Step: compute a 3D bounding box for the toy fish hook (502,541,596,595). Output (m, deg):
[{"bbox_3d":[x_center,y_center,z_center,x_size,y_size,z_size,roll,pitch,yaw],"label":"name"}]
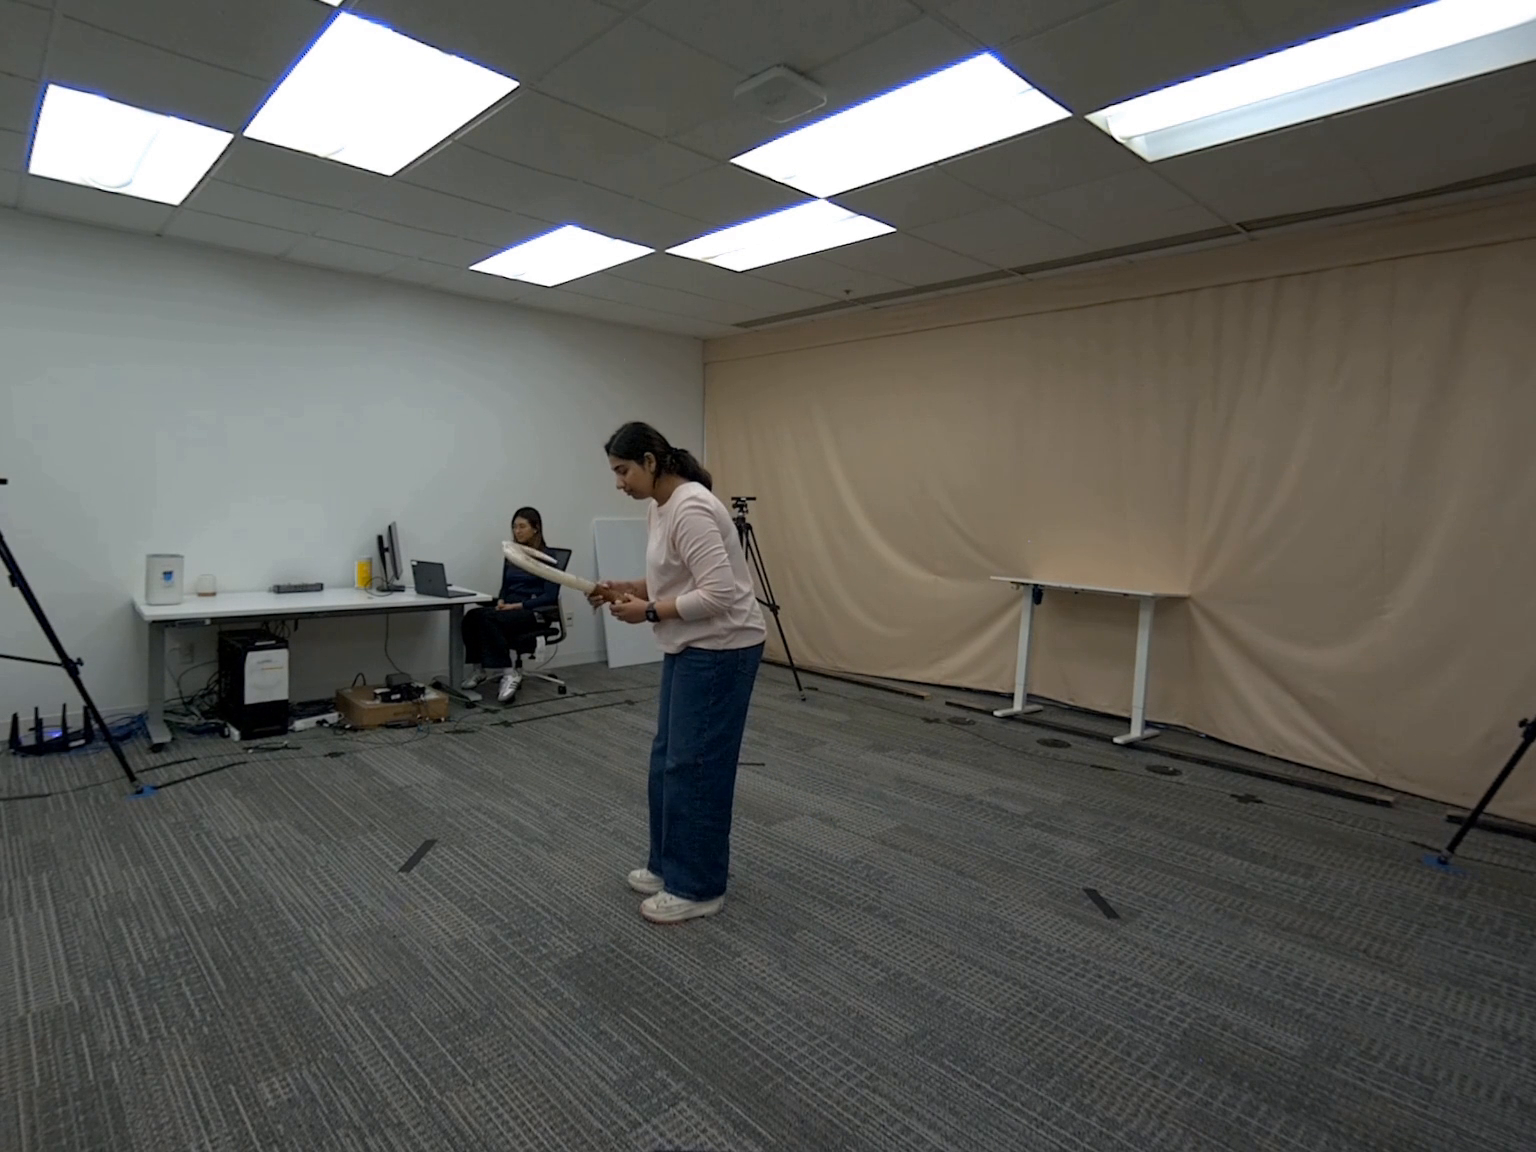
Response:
[{"bbox_3d":[-0.617,0.008,2.731,0.497,0.048,0.229,26,14,-19],"label":"toy fish hook"}]
